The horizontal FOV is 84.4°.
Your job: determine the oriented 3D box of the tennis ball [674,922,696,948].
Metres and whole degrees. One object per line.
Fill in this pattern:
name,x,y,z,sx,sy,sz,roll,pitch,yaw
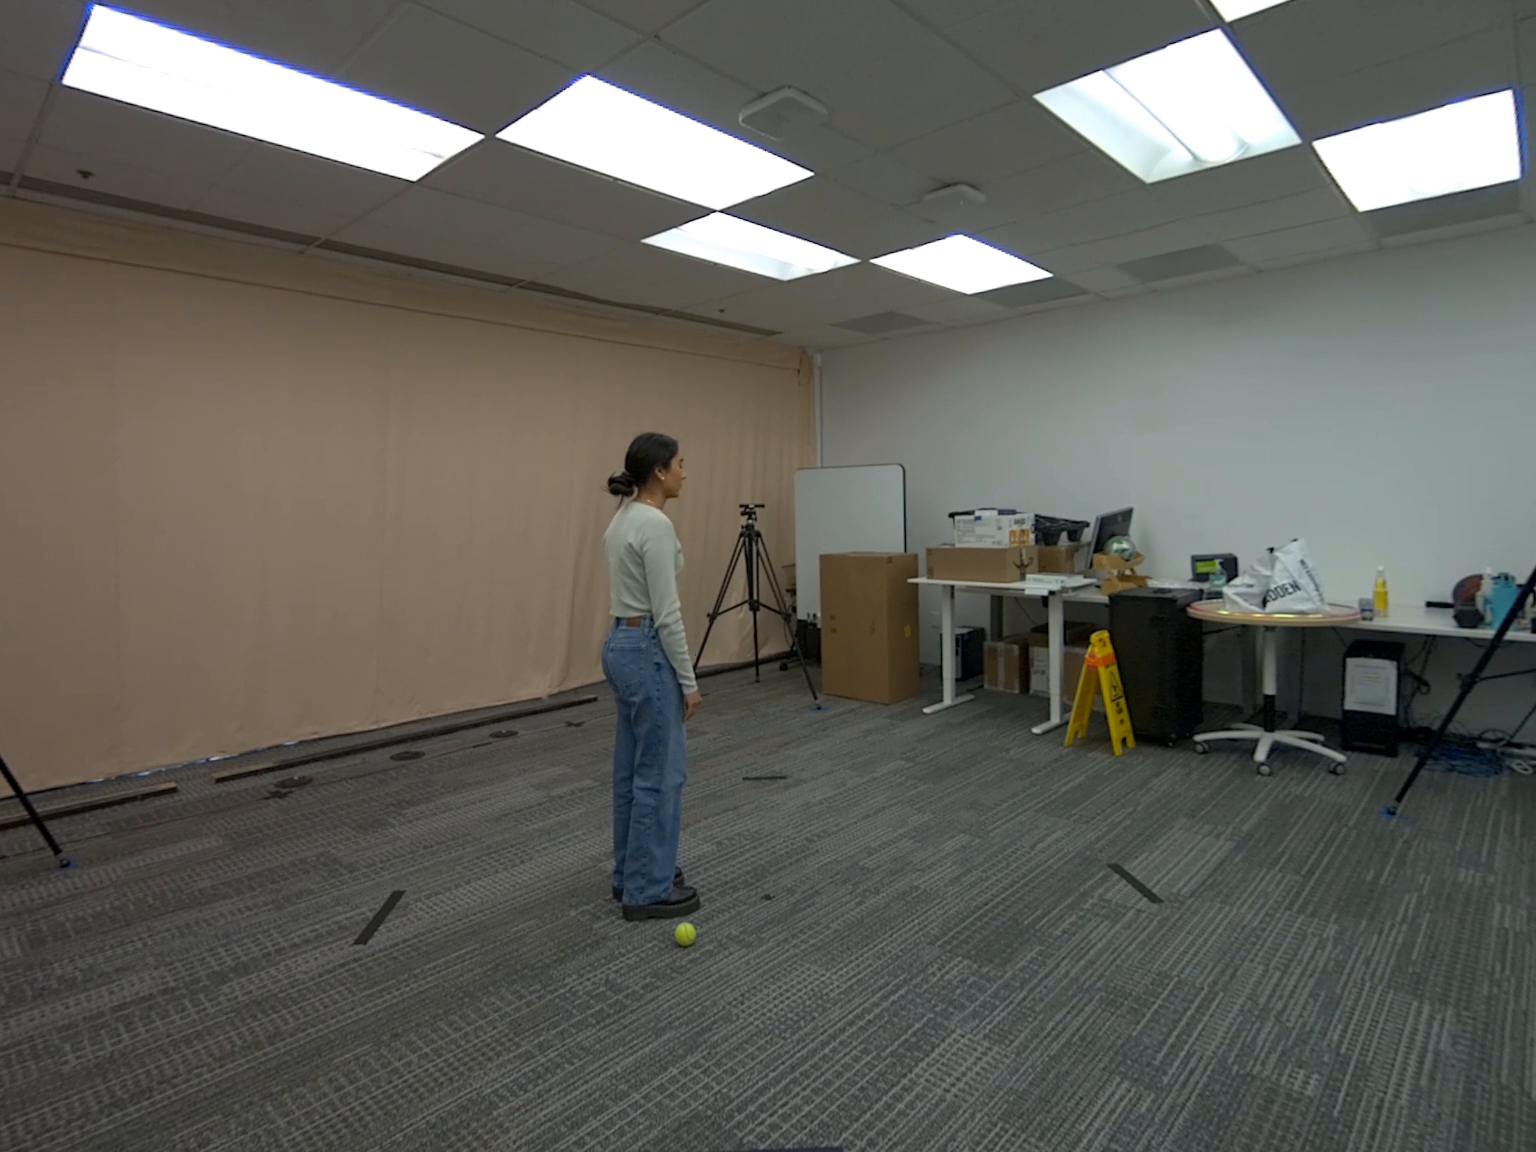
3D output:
tennis ball,-0.259,1.126,2.658,0.066,0.066,0.067,-1,4,-2
